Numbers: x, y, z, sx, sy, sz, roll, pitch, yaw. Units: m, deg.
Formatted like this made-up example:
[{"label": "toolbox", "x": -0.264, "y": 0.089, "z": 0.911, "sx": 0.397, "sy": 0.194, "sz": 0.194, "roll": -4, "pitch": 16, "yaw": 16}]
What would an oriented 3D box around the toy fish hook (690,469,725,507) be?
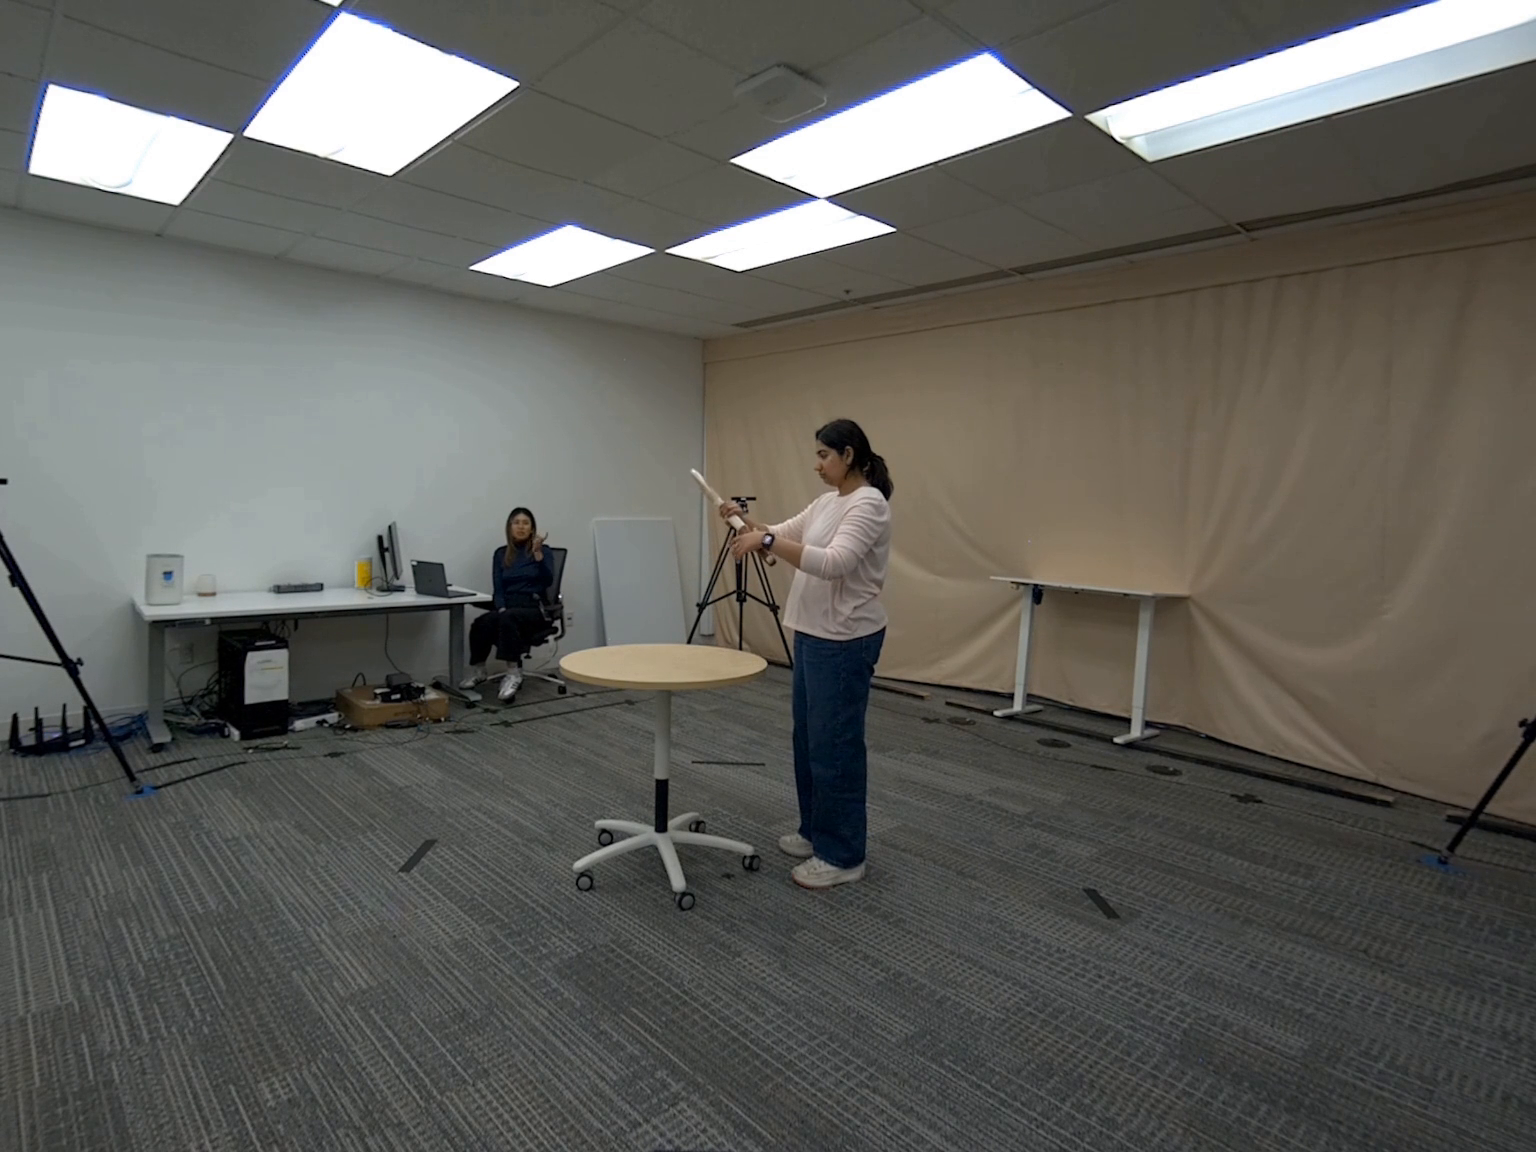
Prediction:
[{"label": "toy fish hook", "x": -0.144, "y": -0.206, "z": 3.024, "sx": 0.521, "sy": 0.048, "sz": 0.218, "roll": 51, "pitch": 6, "yaw": 32}]
